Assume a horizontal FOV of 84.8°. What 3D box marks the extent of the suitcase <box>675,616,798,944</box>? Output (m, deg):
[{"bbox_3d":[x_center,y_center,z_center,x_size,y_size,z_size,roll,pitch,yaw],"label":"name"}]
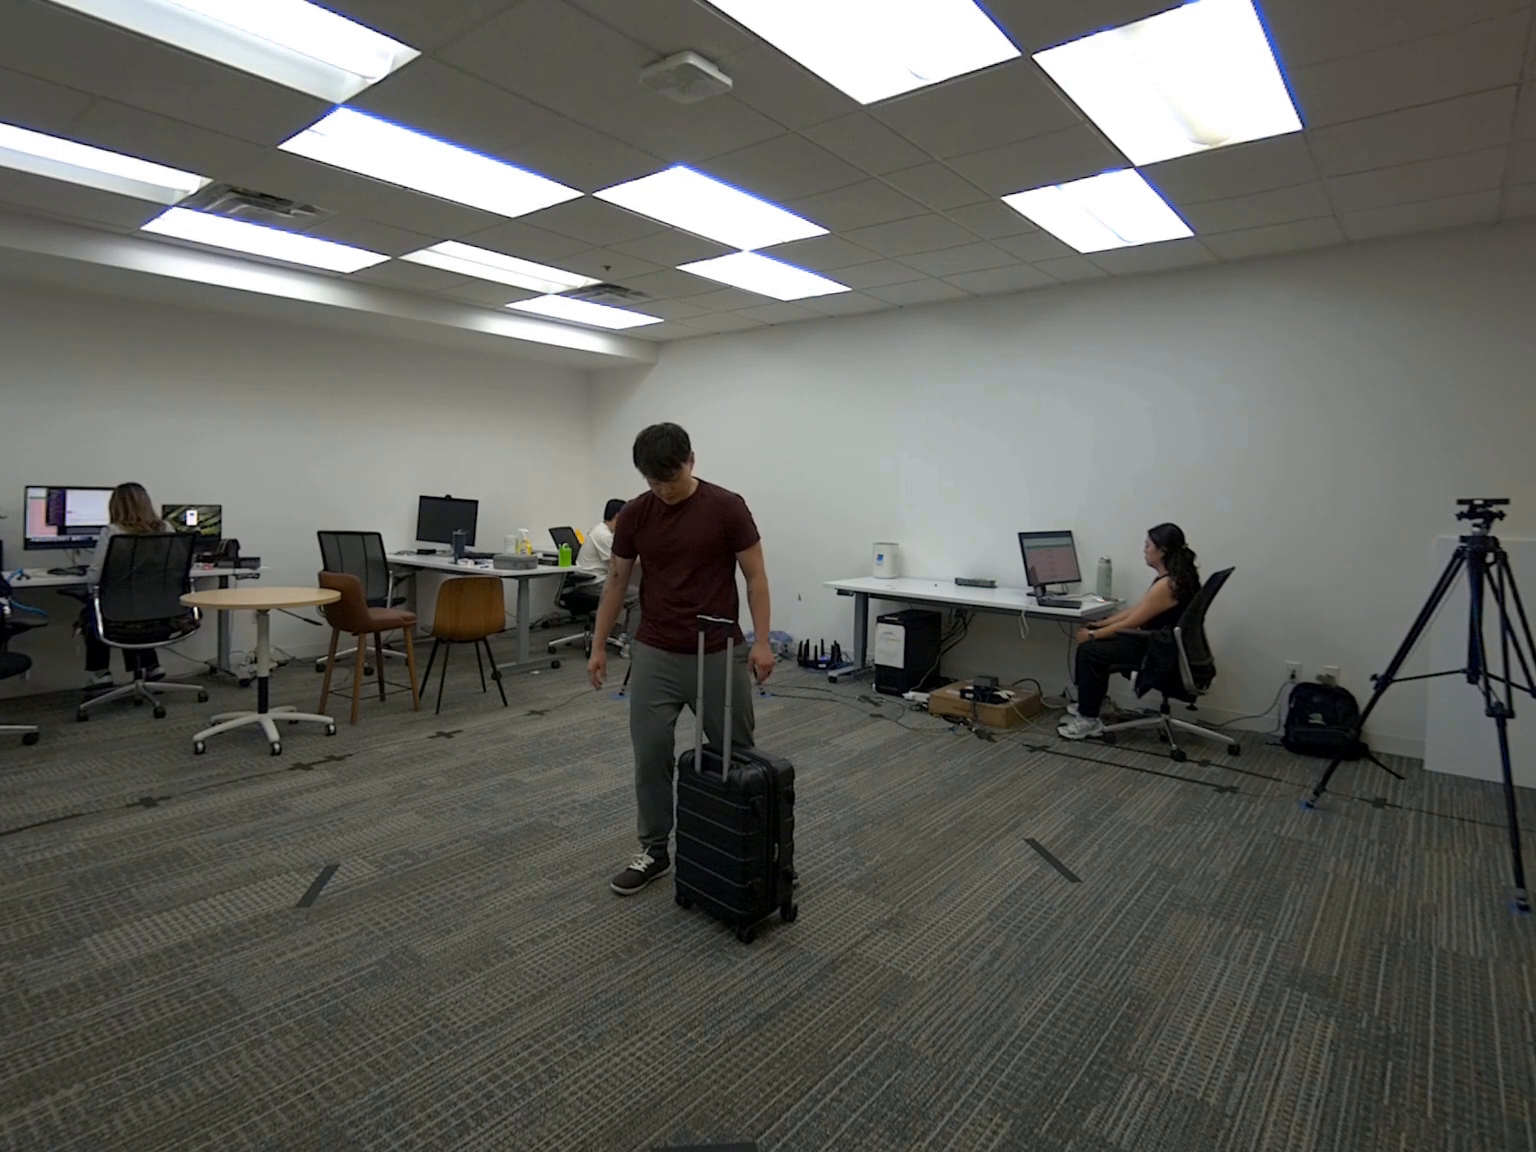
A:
[{"bbox_3d":[-0.106,0.626,2.756,0.249,0.975,0.397,-1,5,-42],"label":"suitcase"}]
